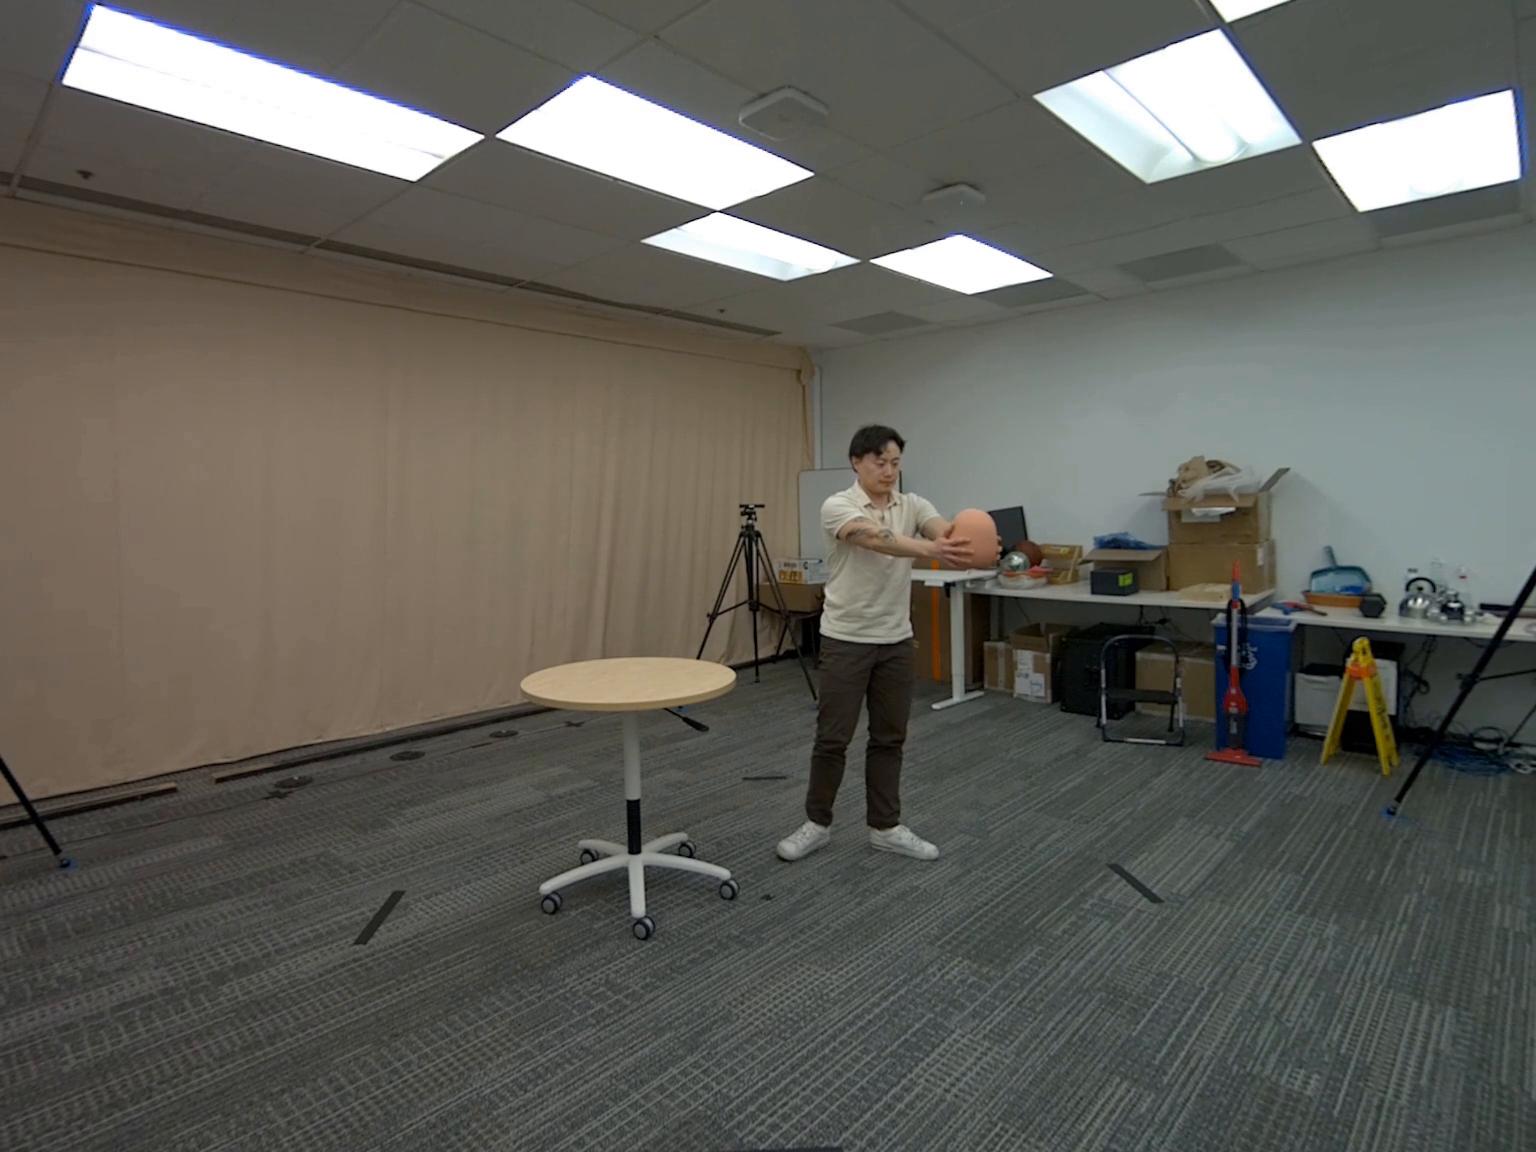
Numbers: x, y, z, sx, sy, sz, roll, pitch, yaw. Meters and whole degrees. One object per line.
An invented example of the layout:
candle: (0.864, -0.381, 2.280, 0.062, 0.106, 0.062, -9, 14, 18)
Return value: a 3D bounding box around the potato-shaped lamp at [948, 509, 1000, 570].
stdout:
potato-shaped lamp: (0.665, -0.123, 2.802, 0.162, 0.196, 0.176, -8, 13, -19)
